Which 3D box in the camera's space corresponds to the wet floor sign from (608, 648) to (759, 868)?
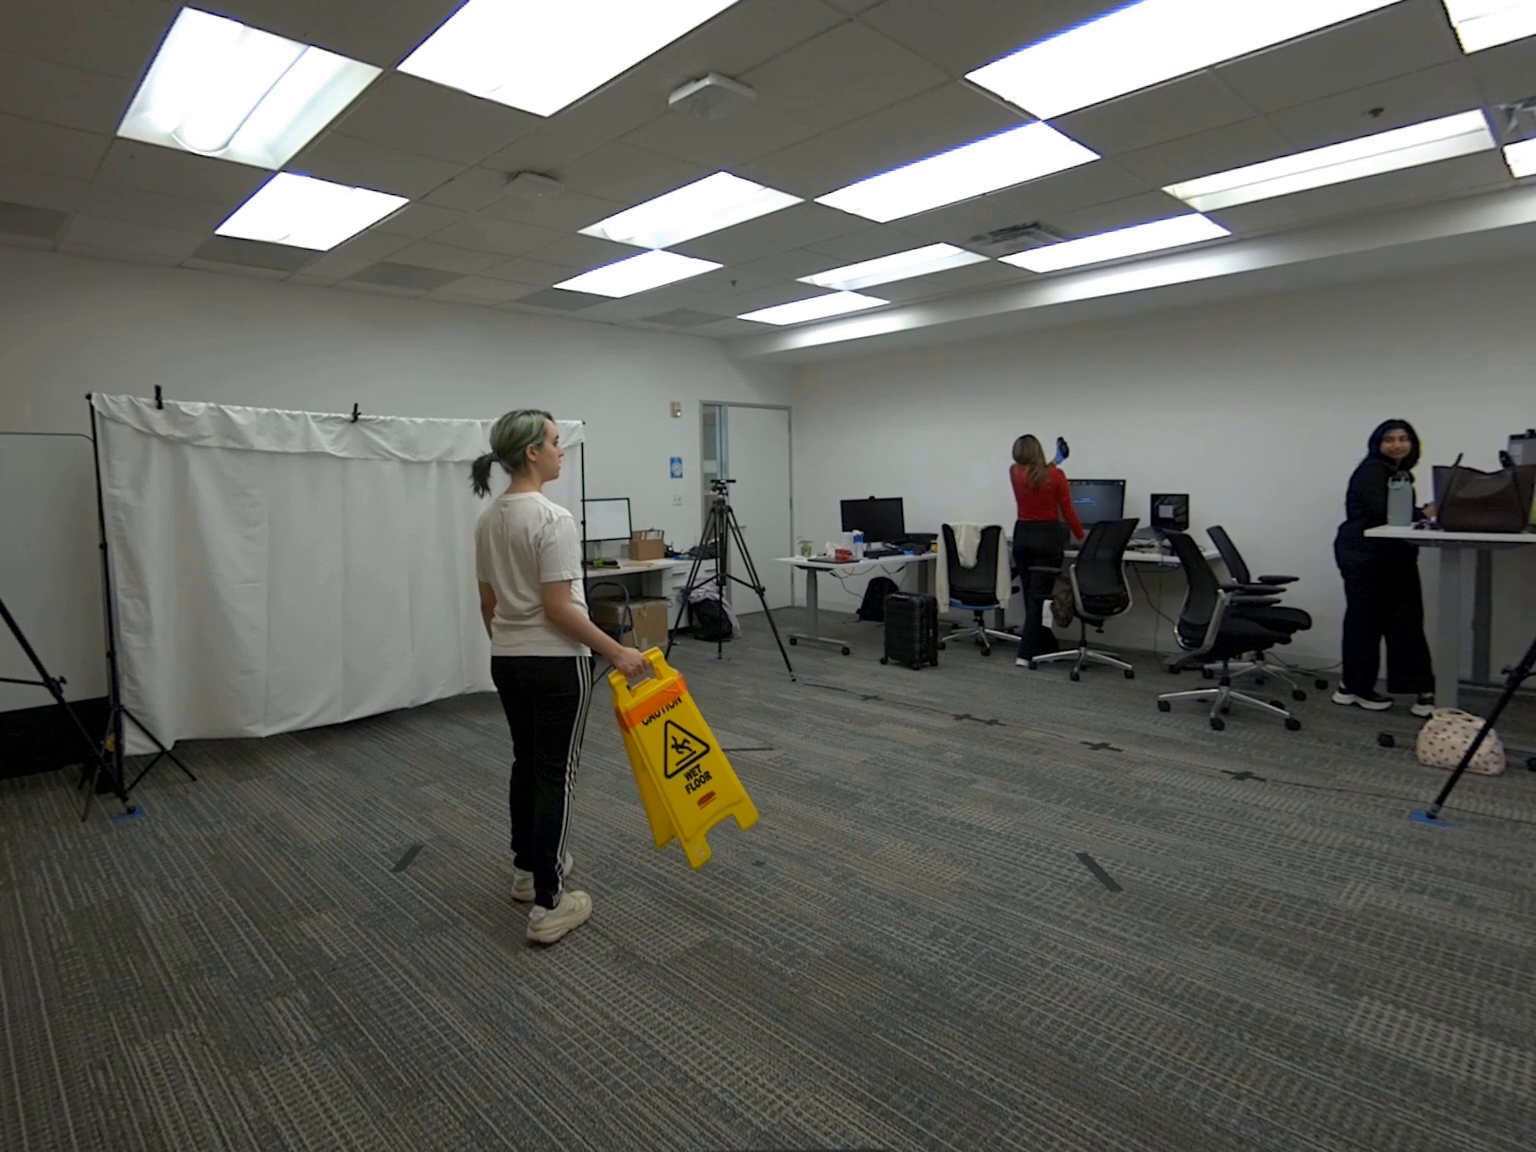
[{"bbox_3d":[-0.317,0.557,2.771,0.279,0.637,0.297,-28,13,-30],"label":"wet floor sign"}]
